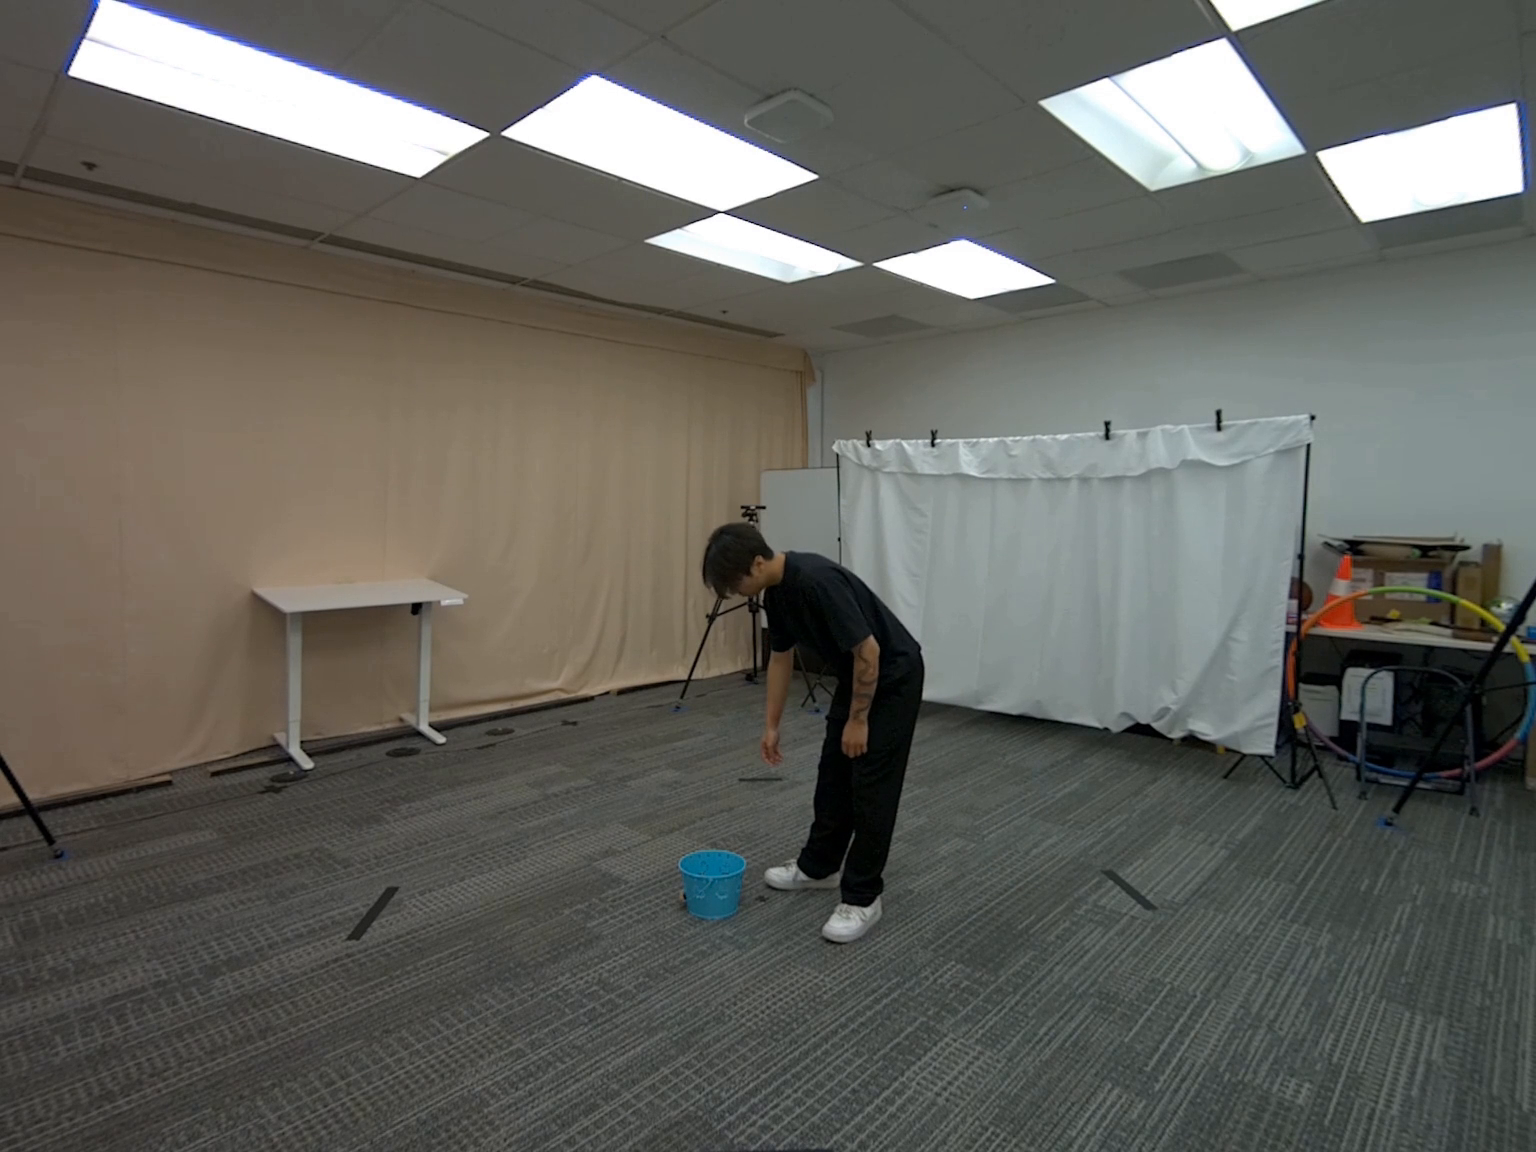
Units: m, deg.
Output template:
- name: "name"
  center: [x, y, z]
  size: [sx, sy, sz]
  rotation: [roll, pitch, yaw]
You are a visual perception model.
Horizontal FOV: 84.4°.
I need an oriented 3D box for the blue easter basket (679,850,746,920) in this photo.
- name: "blue easter basket"
  center: [-0.195, 1.072, 2.933]
  size: [0.243, 0.155, 0.244]
  rotation: [-2, 4, -2]
